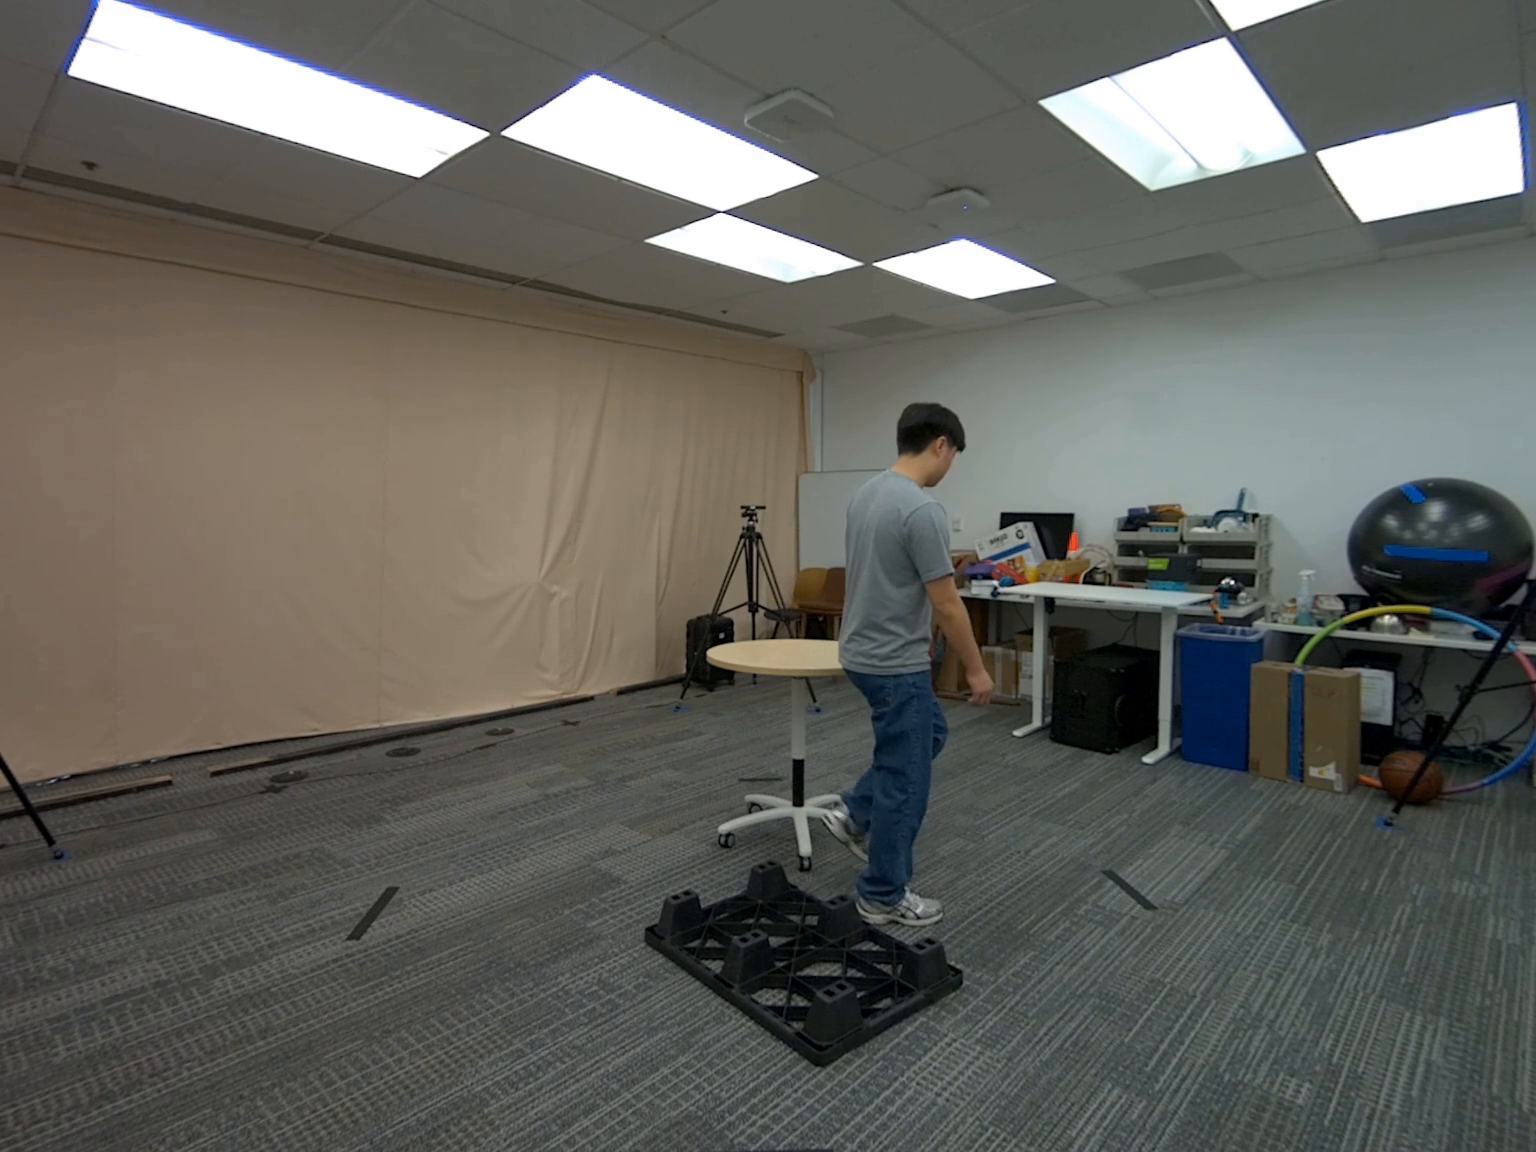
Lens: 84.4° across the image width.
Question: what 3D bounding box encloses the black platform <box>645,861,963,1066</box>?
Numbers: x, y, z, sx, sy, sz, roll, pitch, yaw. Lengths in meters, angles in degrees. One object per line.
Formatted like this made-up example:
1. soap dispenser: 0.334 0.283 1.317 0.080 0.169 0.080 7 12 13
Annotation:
1. black platform: 0.092 1.115 2.566 0.587 0.143 0.832 -5 7 -40
